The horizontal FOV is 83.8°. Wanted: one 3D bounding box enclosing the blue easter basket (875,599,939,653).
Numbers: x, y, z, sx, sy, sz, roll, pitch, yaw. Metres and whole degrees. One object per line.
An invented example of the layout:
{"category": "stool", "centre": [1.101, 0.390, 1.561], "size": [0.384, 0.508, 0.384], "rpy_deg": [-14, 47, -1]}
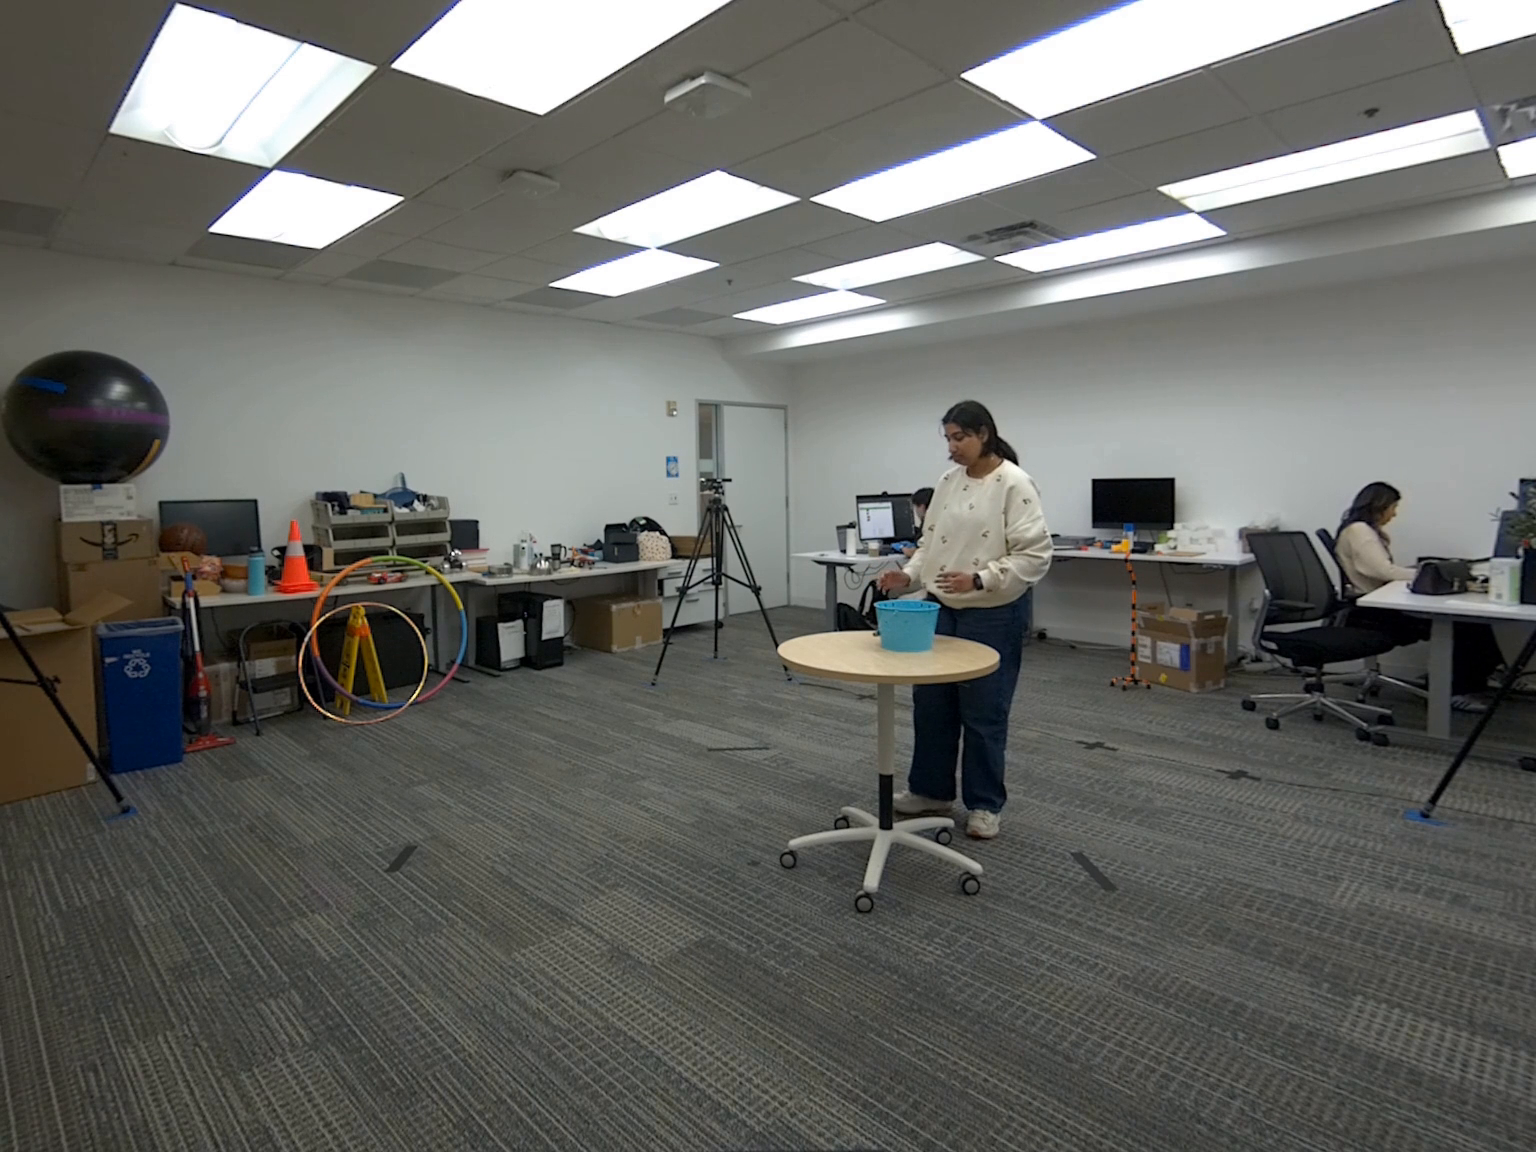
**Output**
{"category": "blue easter basket", "centre": [0.505, 0.182, 3.083], "size": [0.243, 0.155, 0.245], "rpy_deg": [1, 6, -2]}
